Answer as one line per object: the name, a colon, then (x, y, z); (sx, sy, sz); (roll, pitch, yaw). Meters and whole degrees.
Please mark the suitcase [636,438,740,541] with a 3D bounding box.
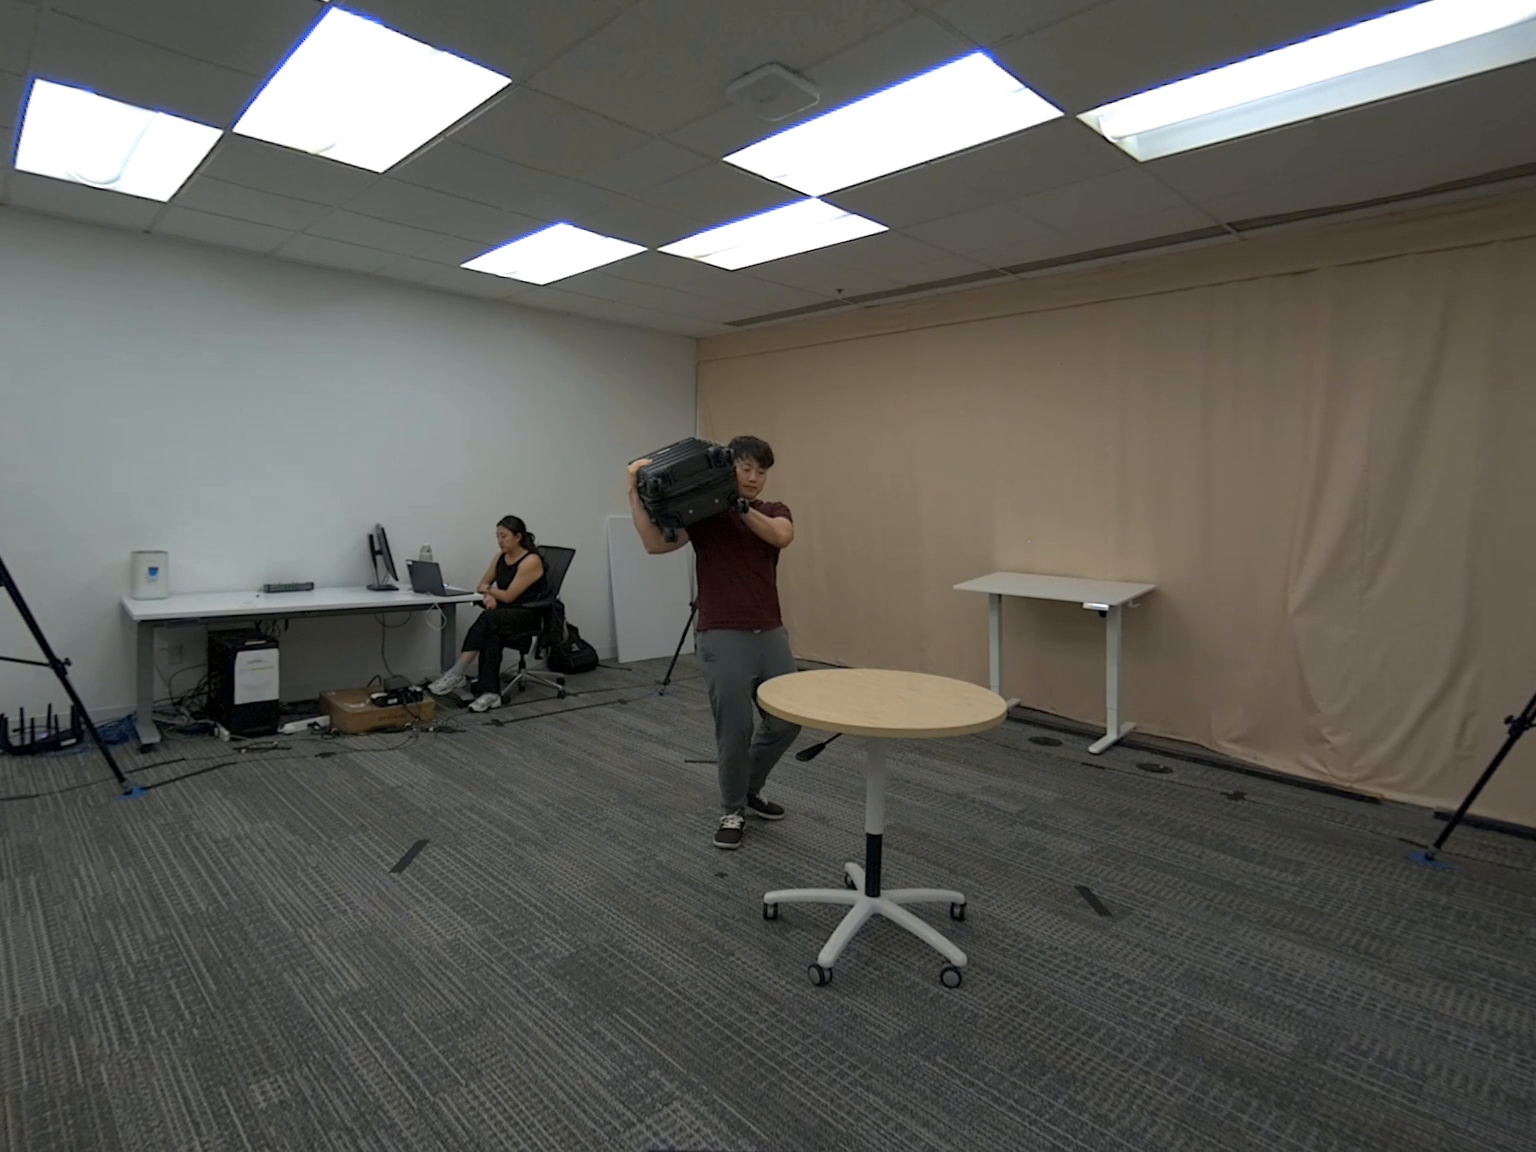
suitcase: (-0.411, -0.418, 3.520); (0.382, 0.252, 1.001); (-24, 21, -12)
